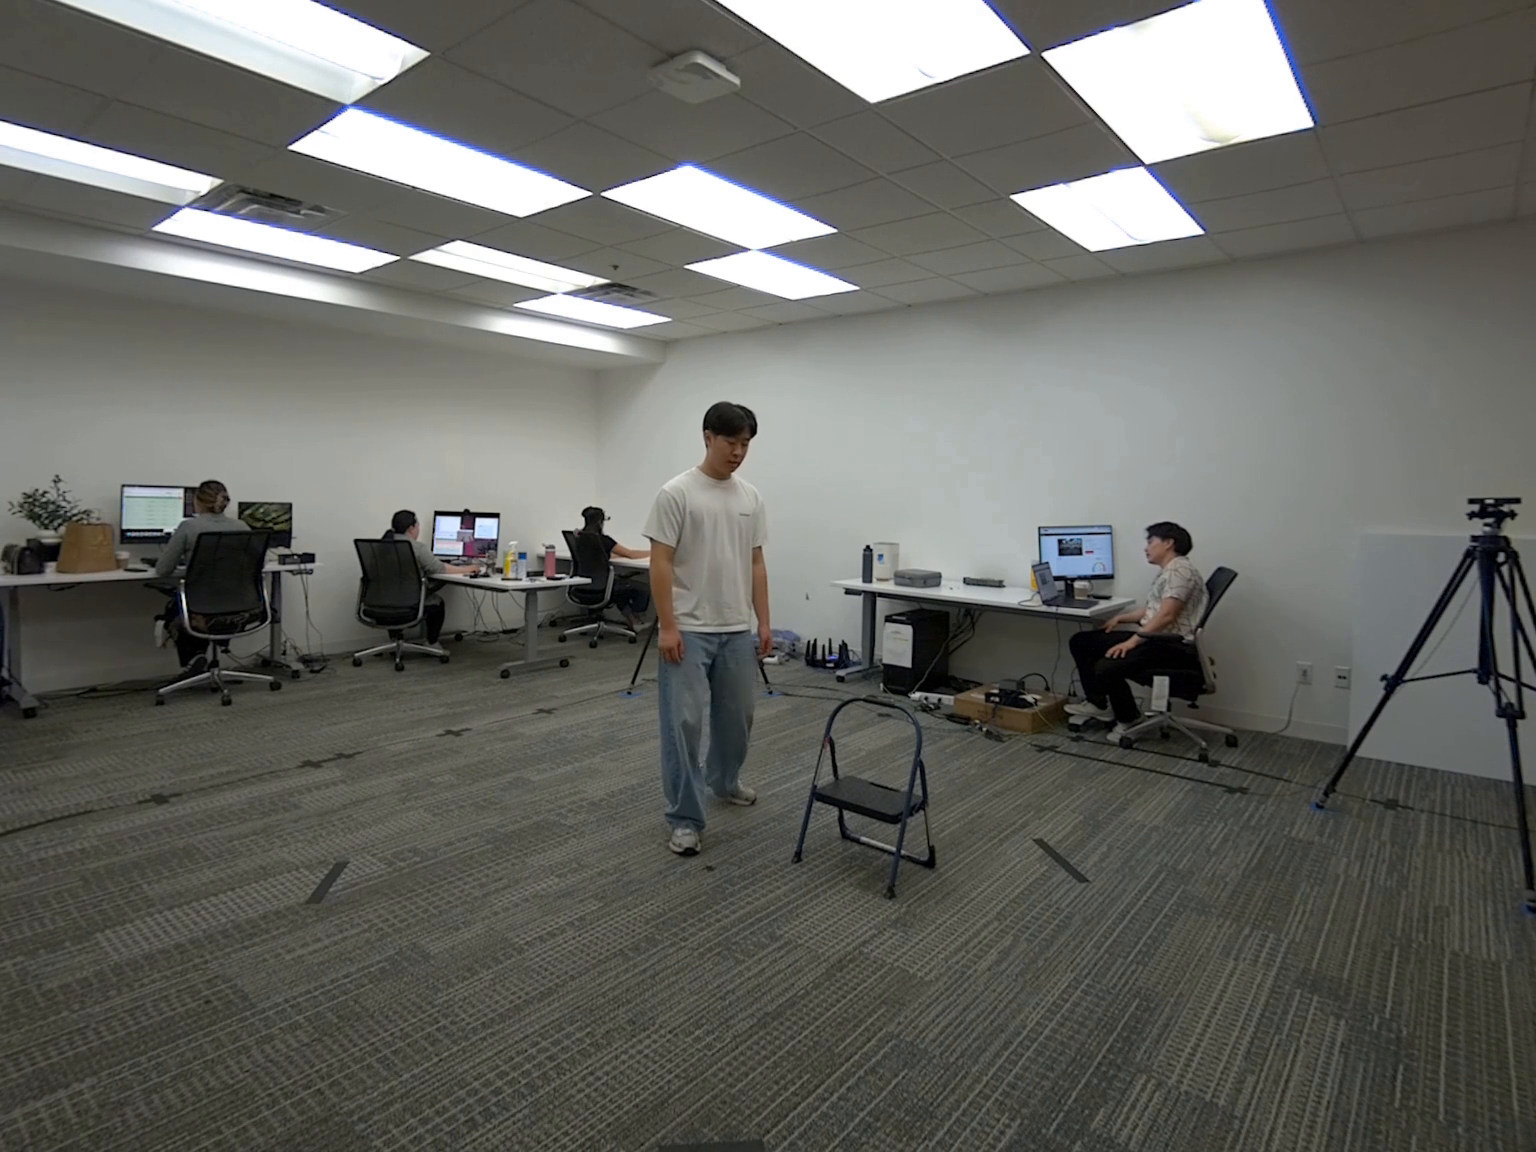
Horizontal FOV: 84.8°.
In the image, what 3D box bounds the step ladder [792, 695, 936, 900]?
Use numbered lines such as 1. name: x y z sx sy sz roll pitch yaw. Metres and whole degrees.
1. step ladder: 0.360 0.769 3.156 0.445 0.604 0.339 5 5 39
